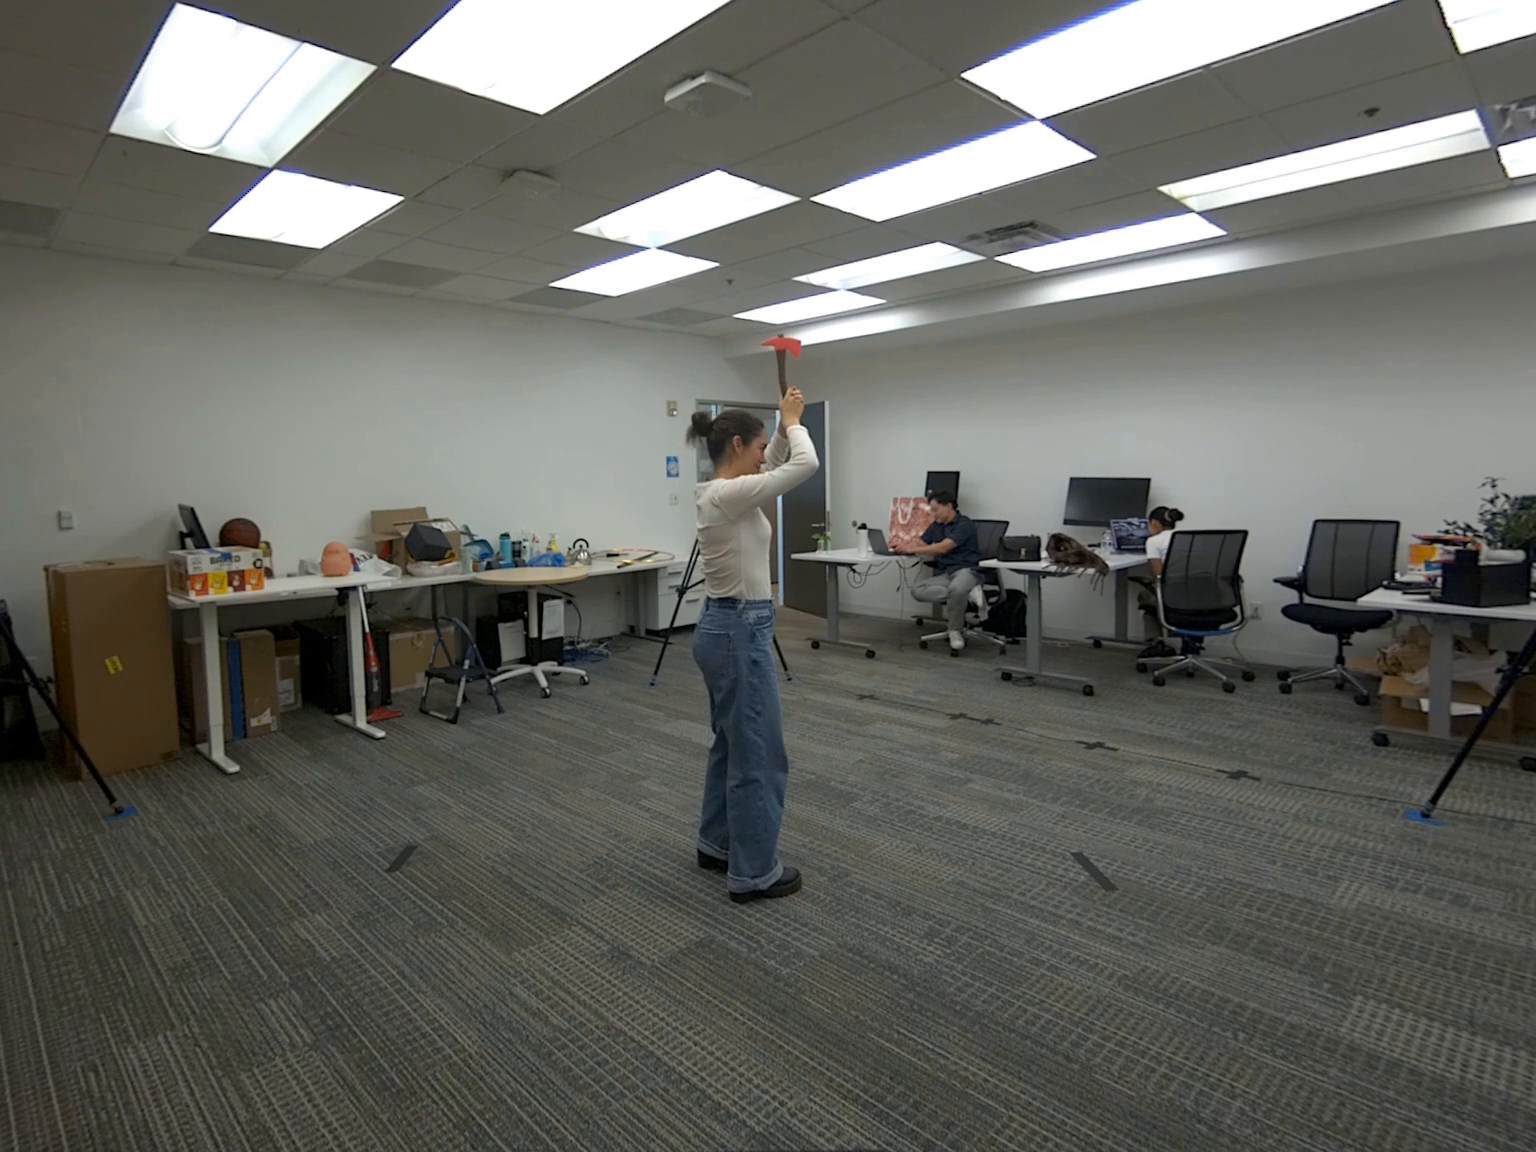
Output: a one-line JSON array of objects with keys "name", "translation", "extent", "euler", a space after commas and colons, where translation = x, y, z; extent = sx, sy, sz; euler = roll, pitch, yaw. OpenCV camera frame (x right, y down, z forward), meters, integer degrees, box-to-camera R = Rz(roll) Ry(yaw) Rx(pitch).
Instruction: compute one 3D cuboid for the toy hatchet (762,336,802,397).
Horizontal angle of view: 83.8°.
[{"name": "toy hatchet", "translation": [0.084, -0.689, 2.894], "extent": [0.131, 0.267, 0.030], "euler": [-21, 9, -5]}]
